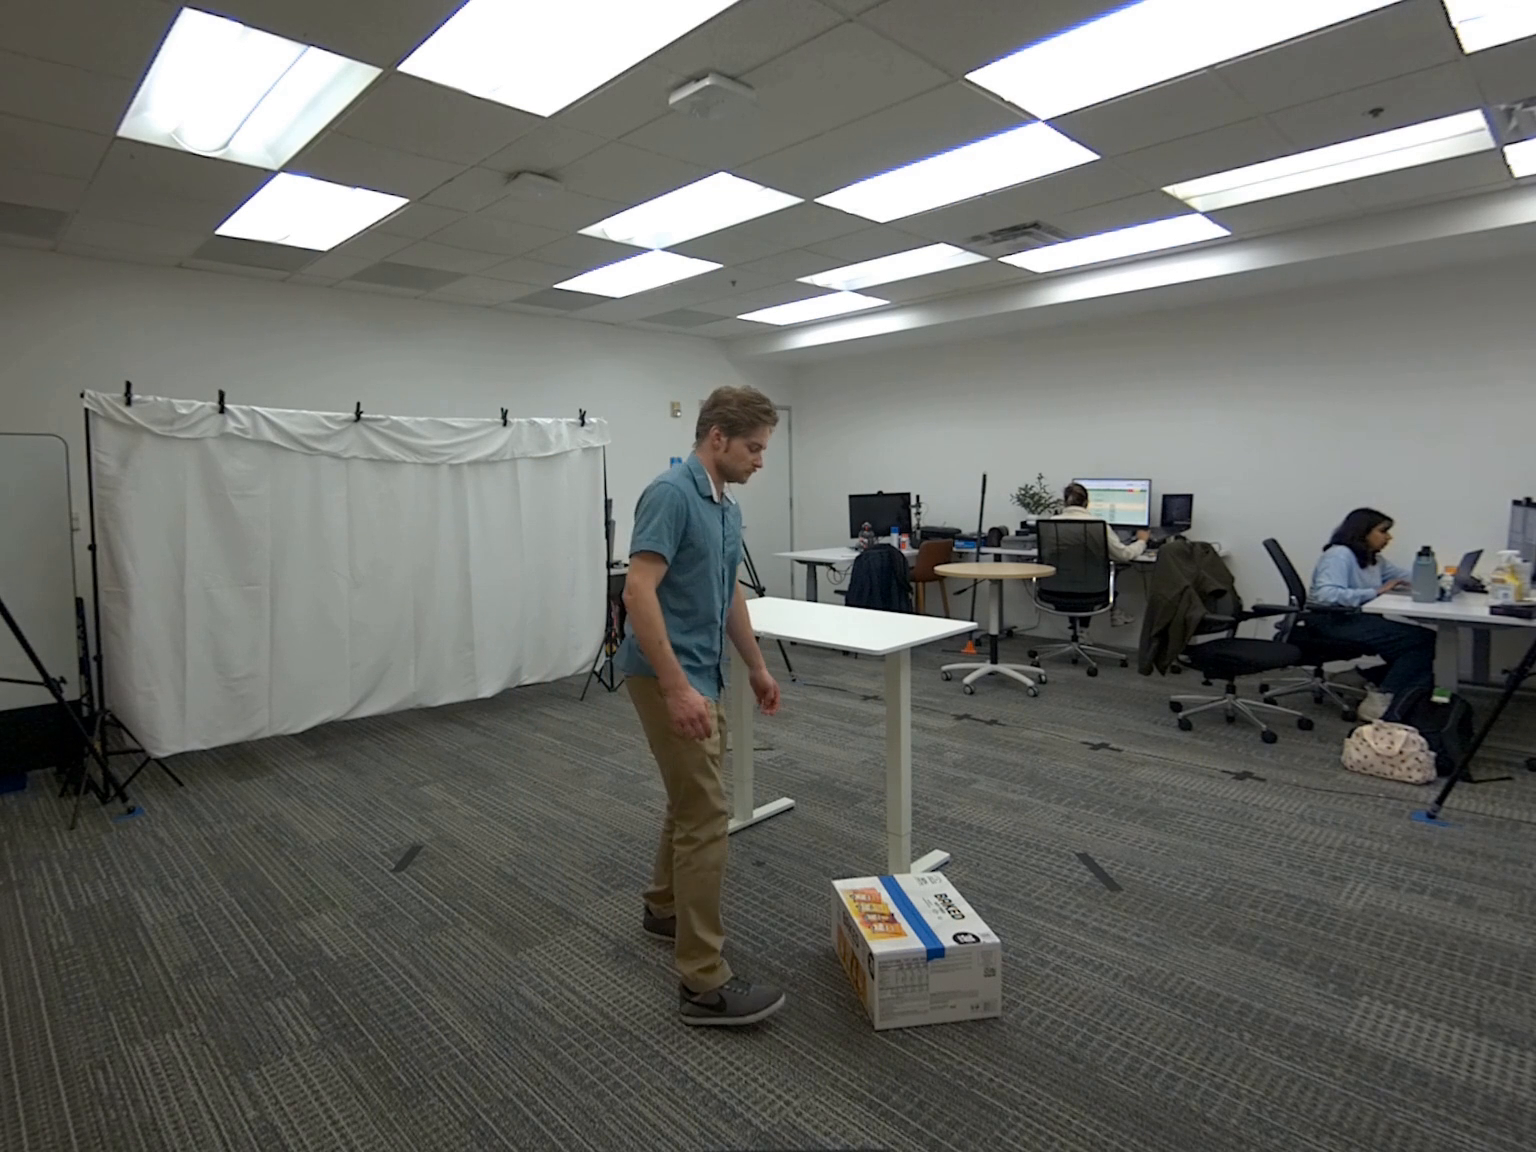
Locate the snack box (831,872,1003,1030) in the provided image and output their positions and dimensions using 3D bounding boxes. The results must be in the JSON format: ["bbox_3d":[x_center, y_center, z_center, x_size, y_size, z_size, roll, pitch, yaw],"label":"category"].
[{"bbox_3d":[0.402,1.025,2.365,0.337,0.205,0.410,-3,6,-10],"label":"snack box"}]
